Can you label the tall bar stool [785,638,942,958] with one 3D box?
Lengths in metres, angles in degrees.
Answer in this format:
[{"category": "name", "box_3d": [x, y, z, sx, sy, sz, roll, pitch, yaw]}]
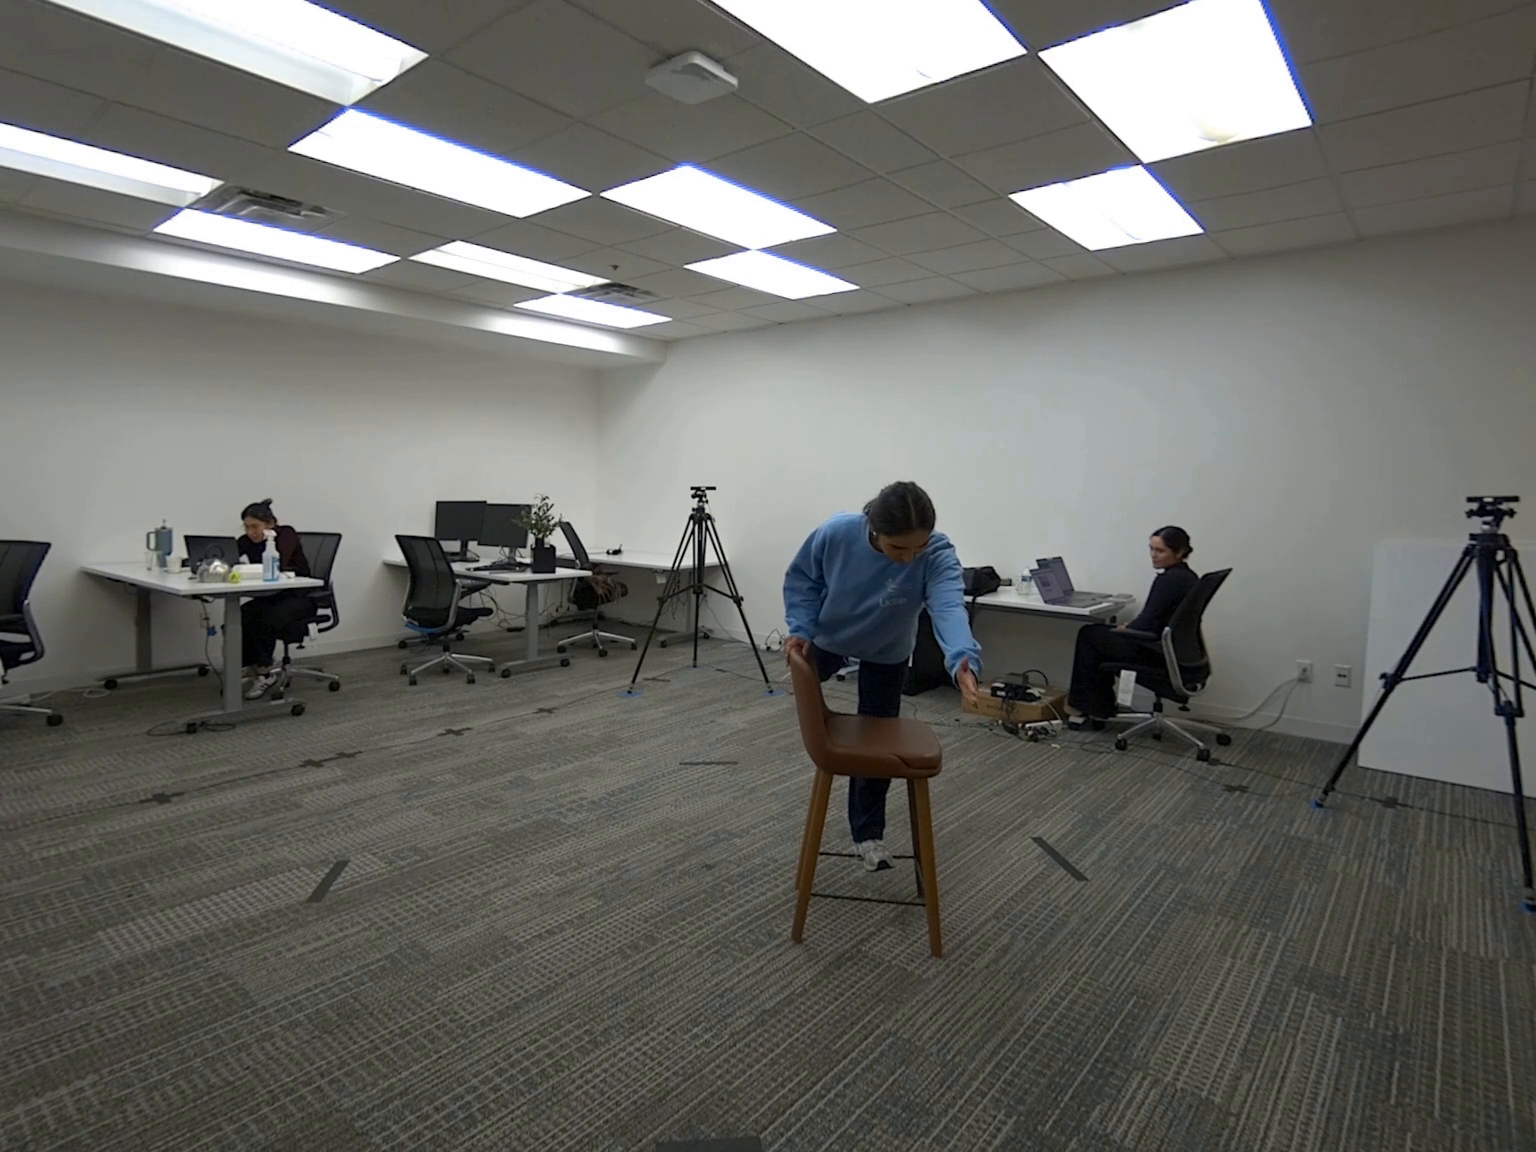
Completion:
[{"category": "tall bar stool", "box_3d": [0.310, 0.677, 2.742, 0.471, 0.887, 0.454, 0, 3, 6]}]
